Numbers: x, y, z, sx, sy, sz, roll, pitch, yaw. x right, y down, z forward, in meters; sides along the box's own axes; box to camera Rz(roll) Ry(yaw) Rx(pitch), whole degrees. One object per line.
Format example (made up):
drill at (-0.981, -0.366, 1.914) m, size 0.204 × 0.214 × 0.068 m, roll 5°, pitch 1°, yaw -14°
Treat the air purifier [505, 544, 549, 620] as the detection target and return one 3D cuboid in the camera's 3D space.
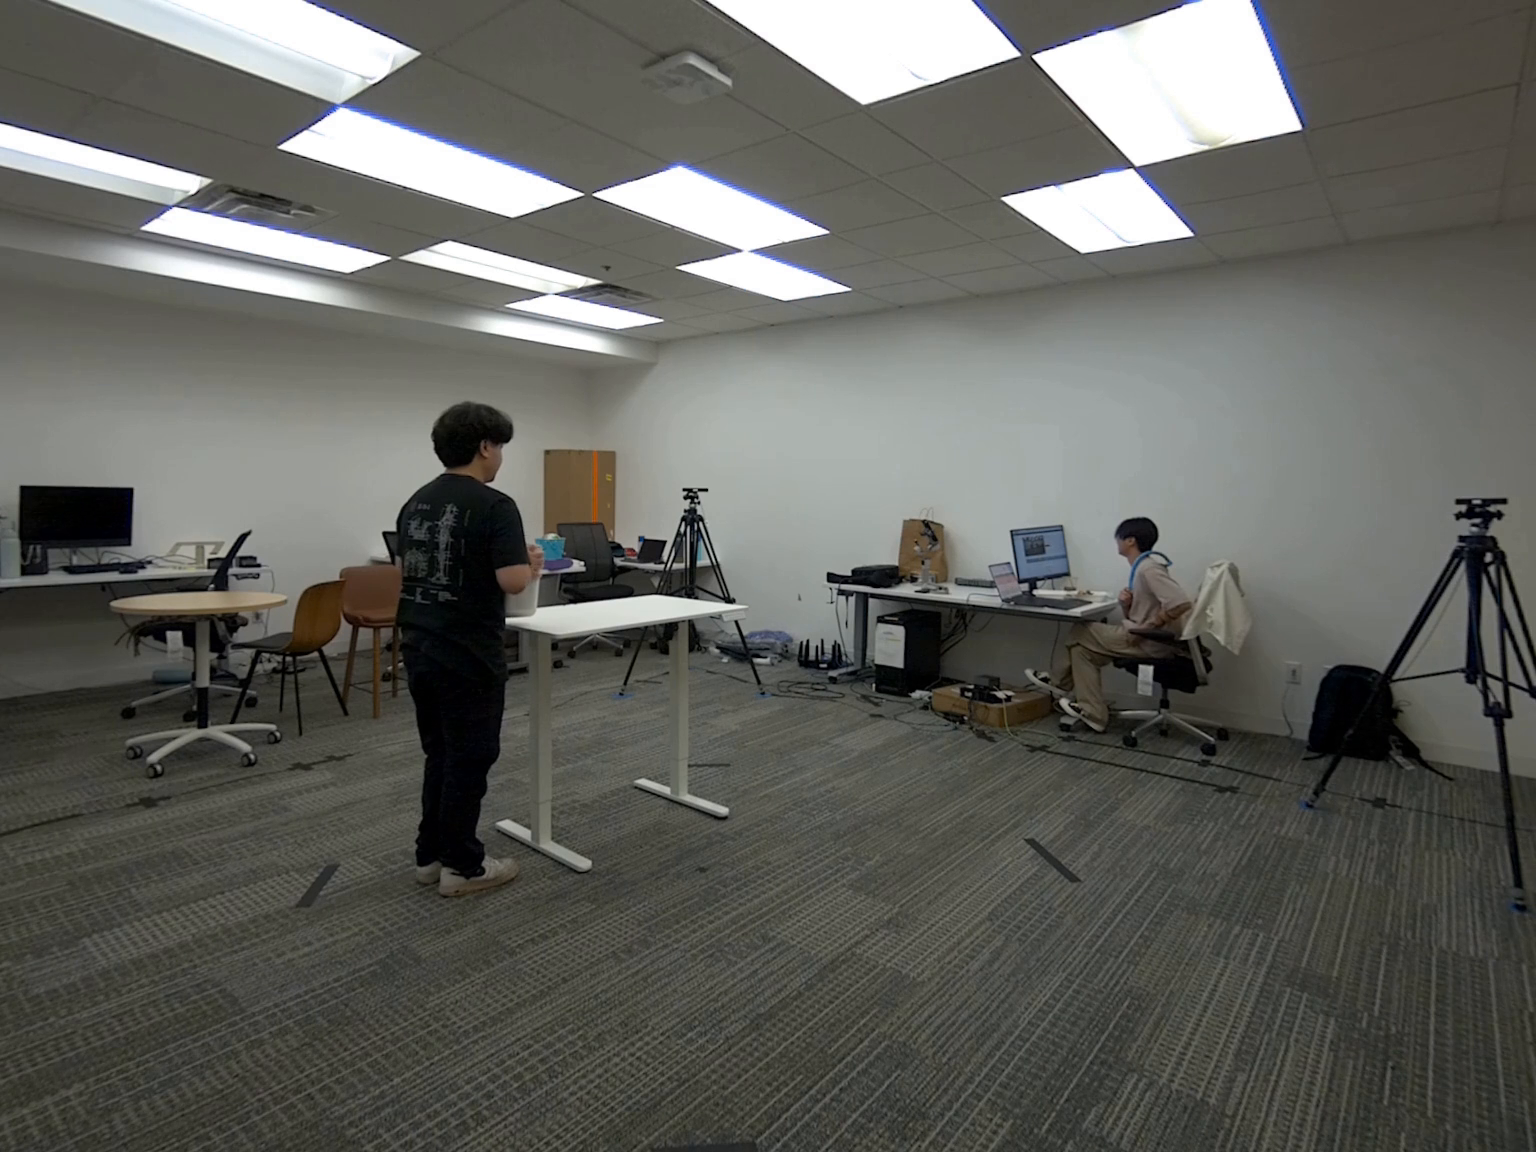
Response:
air purifier at (-0.949, 0.012, 3.092) m, size 0.177 × 0.265 × 0.166 m, roll 8°, pitch 2°, yaw 34°
